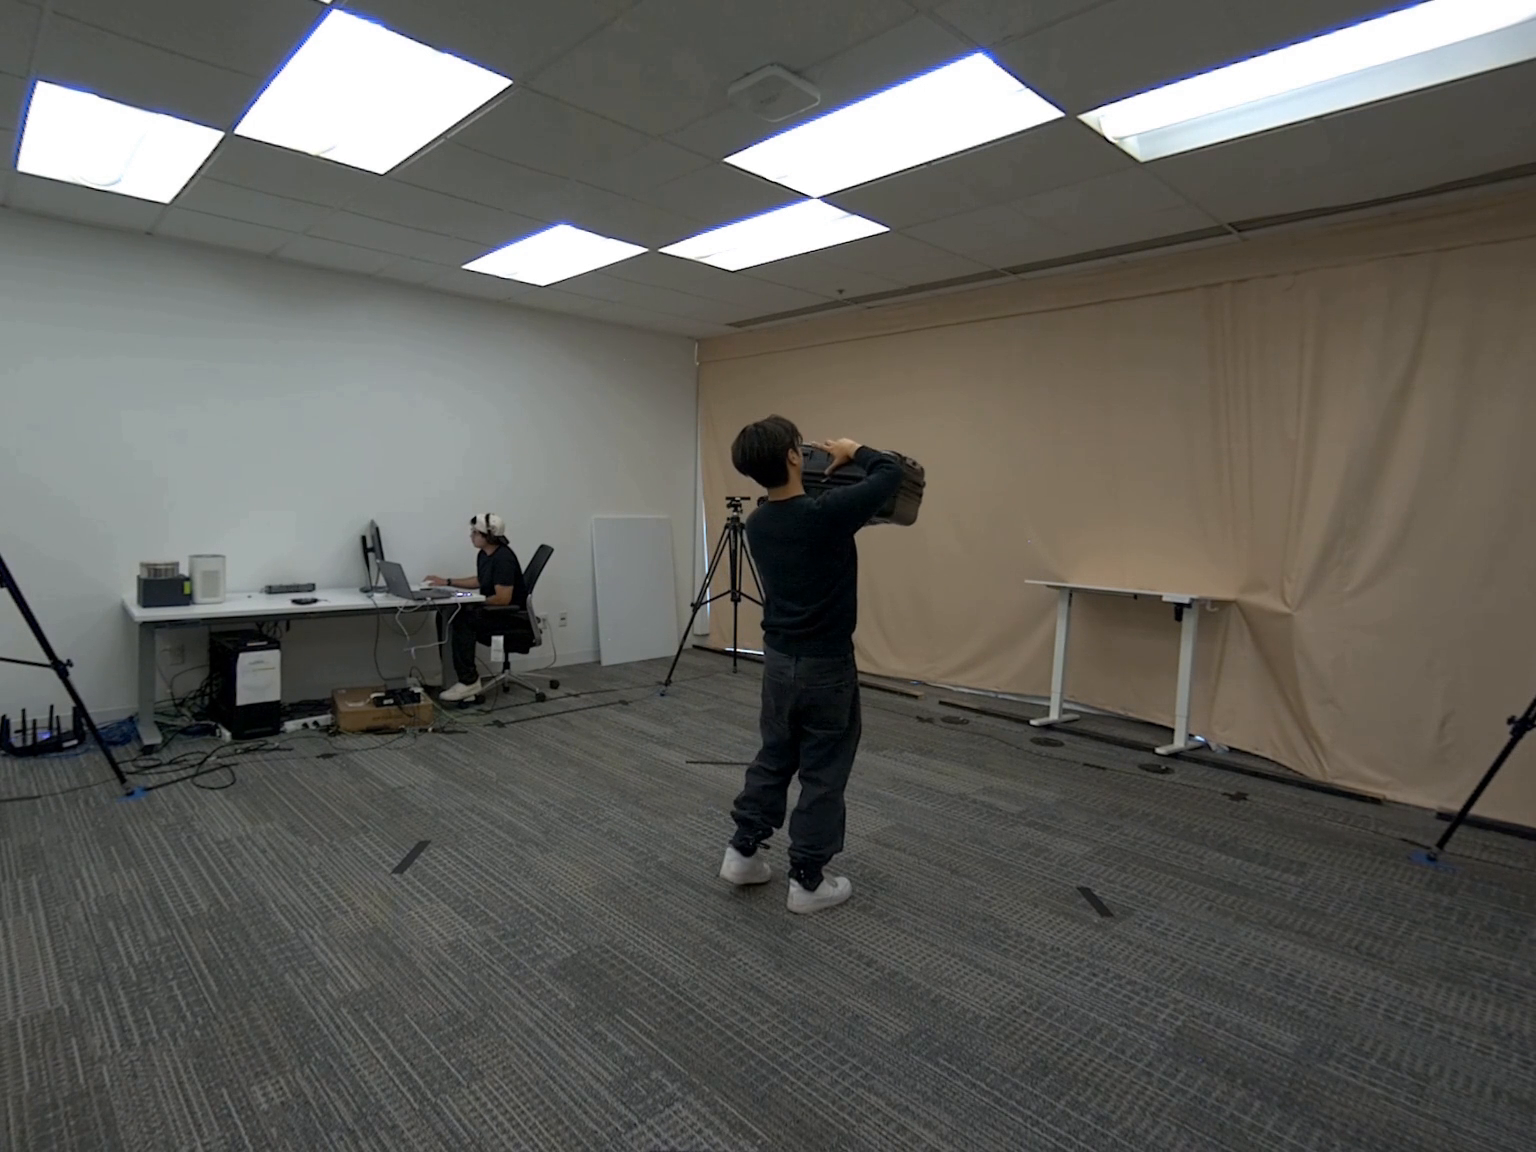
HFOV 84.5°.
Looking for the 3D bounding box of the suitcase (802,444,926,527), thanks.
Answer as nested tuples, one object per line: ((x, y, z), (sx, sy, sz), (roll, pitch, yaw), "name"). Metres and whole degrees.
((0.290, -0.342, 3.186), (0.562, 0.248, 0.366), (8, -2, 29), "suitcase")
